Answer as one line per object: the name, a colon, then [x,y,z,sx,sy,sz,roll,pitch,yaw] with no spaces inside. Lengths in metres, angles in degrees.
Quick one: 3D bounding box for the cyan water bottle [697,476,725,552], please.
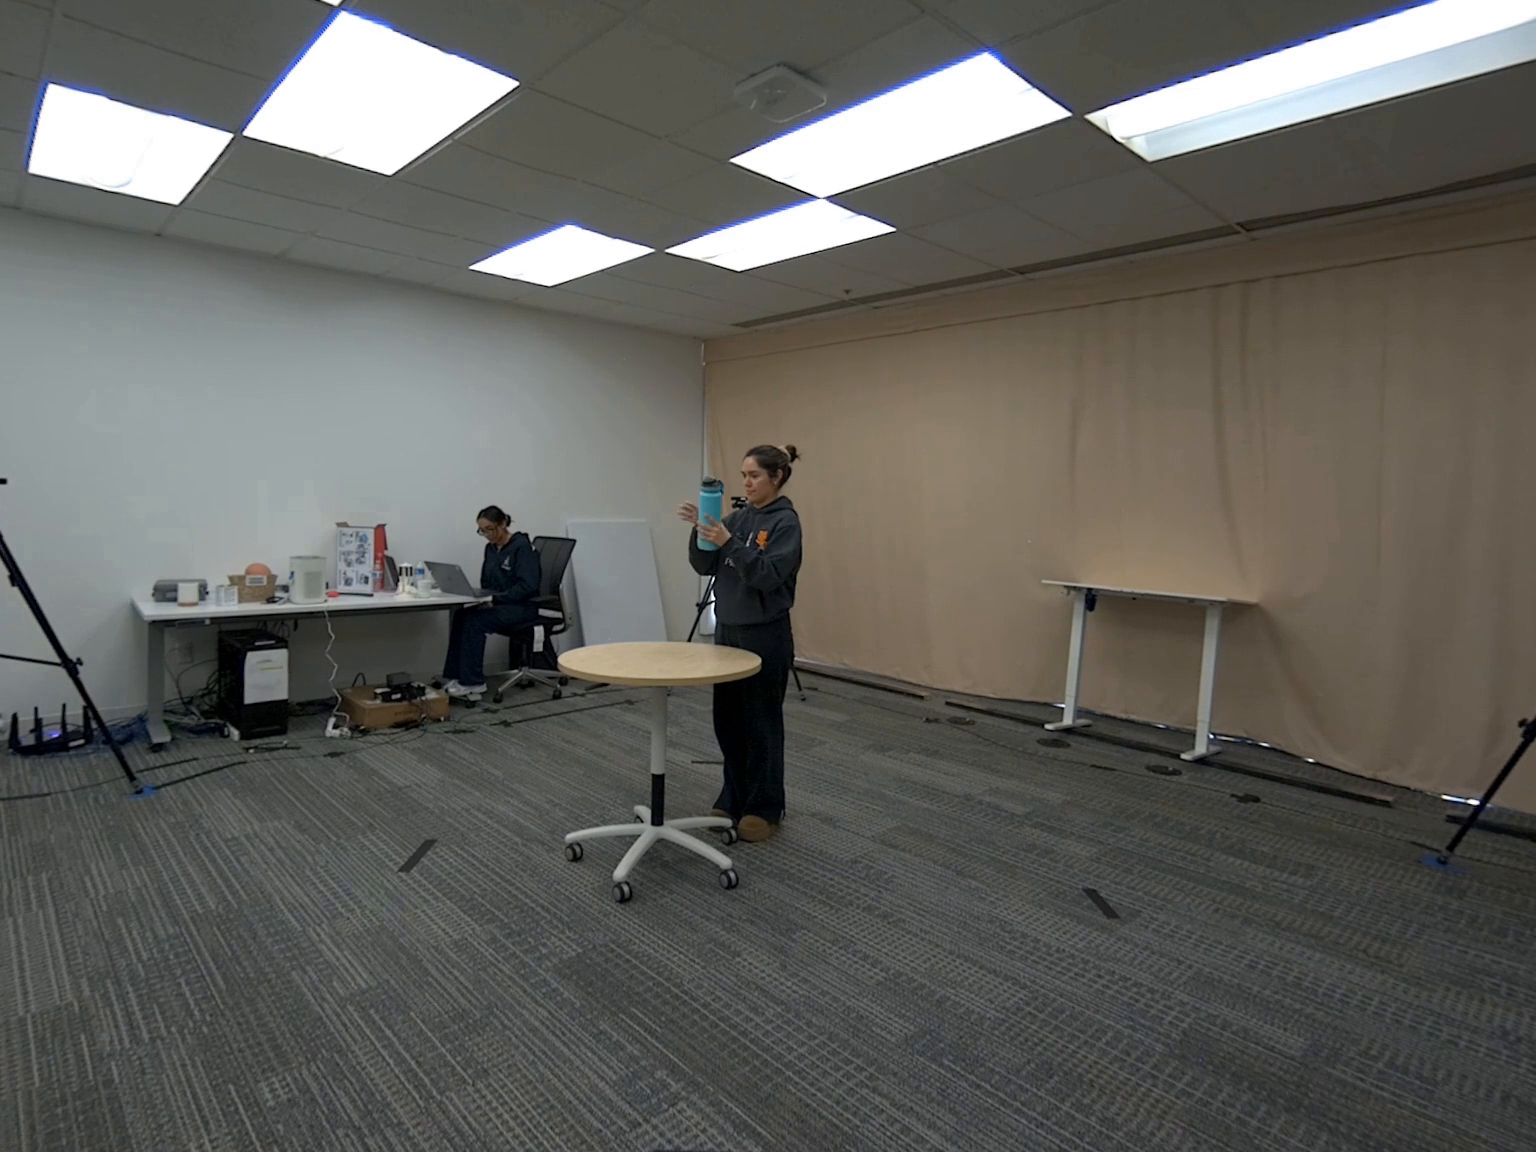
cyan water bottle: [-0.231,-0.228,3.262,0.092,0.280,0.093,2,18,-2]
